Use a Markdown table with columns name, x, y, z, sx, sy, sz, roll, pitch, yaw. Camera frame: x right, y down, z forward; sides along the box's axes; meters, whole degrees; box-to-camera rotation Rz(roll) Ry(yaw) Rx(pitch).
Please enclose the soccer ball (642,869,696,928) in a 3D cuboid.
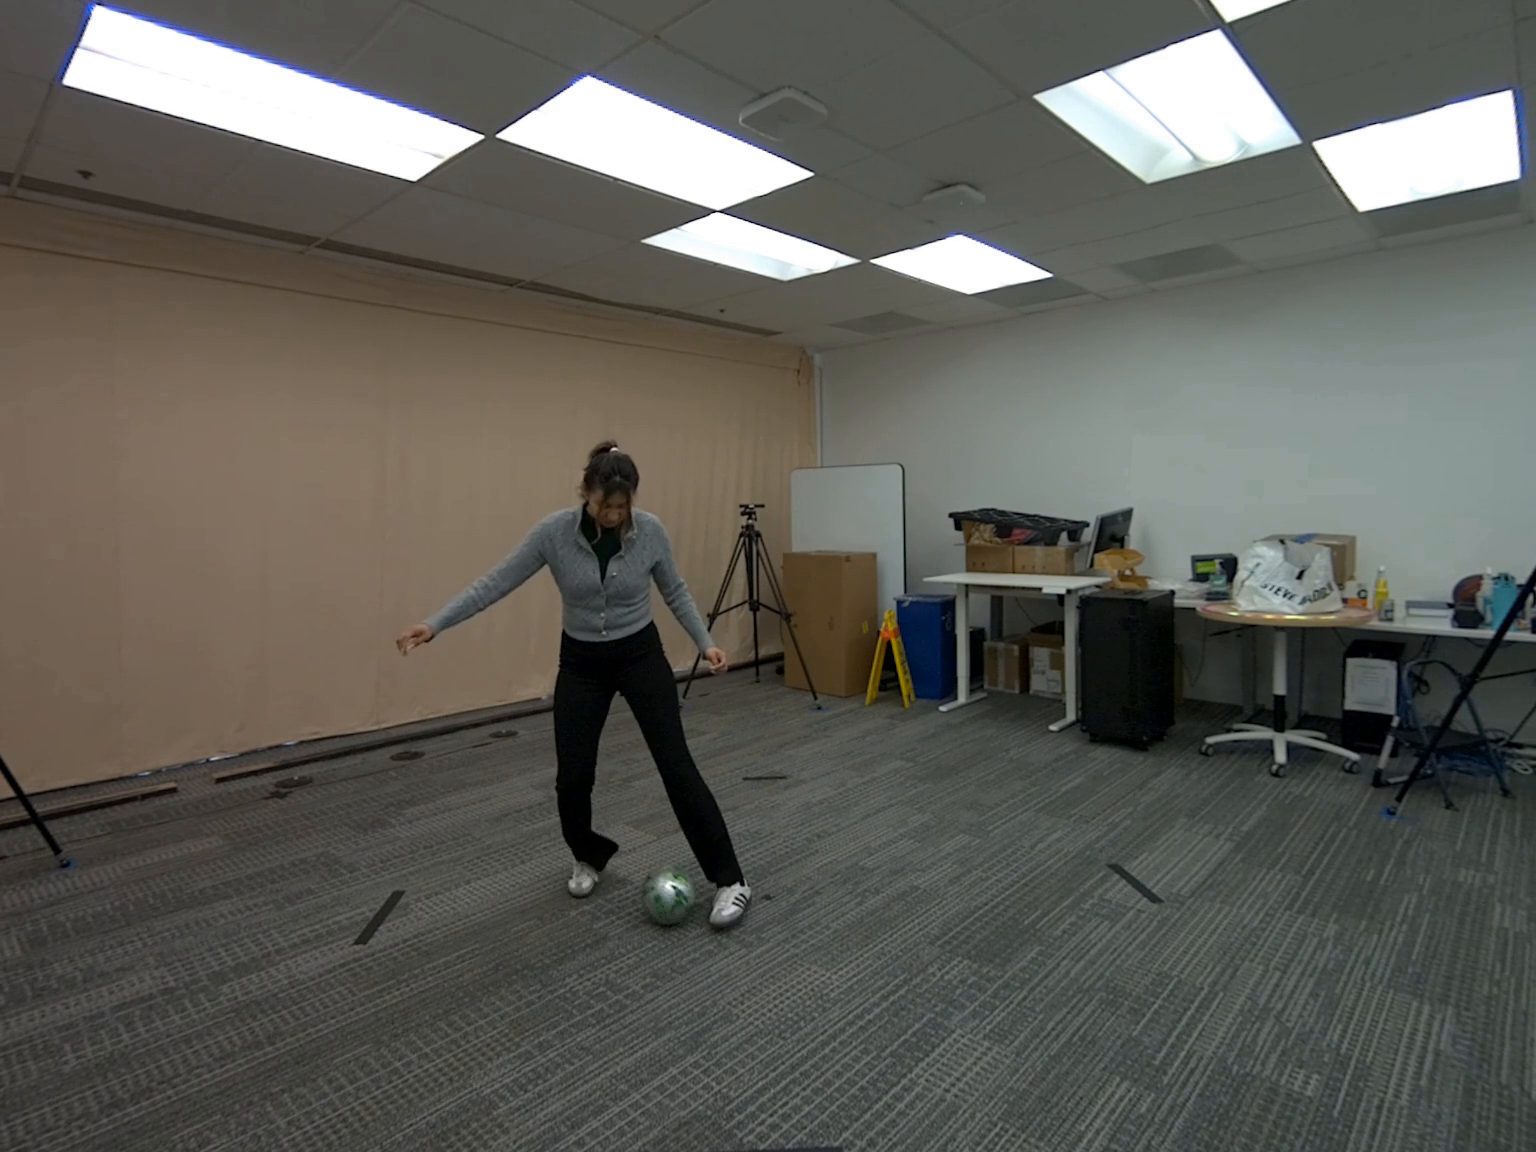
| name | x | y | z | sx | sy | sz | roll | pitch | yaw |
| --- | --- | --- | --- | --- | --- | --- | --- | --- | --- |
| soccer ball | -0.354 | 1.064 | 2.823 | 0.187 | 0.187 | 0.188 | -1 | 4 | -2 |
